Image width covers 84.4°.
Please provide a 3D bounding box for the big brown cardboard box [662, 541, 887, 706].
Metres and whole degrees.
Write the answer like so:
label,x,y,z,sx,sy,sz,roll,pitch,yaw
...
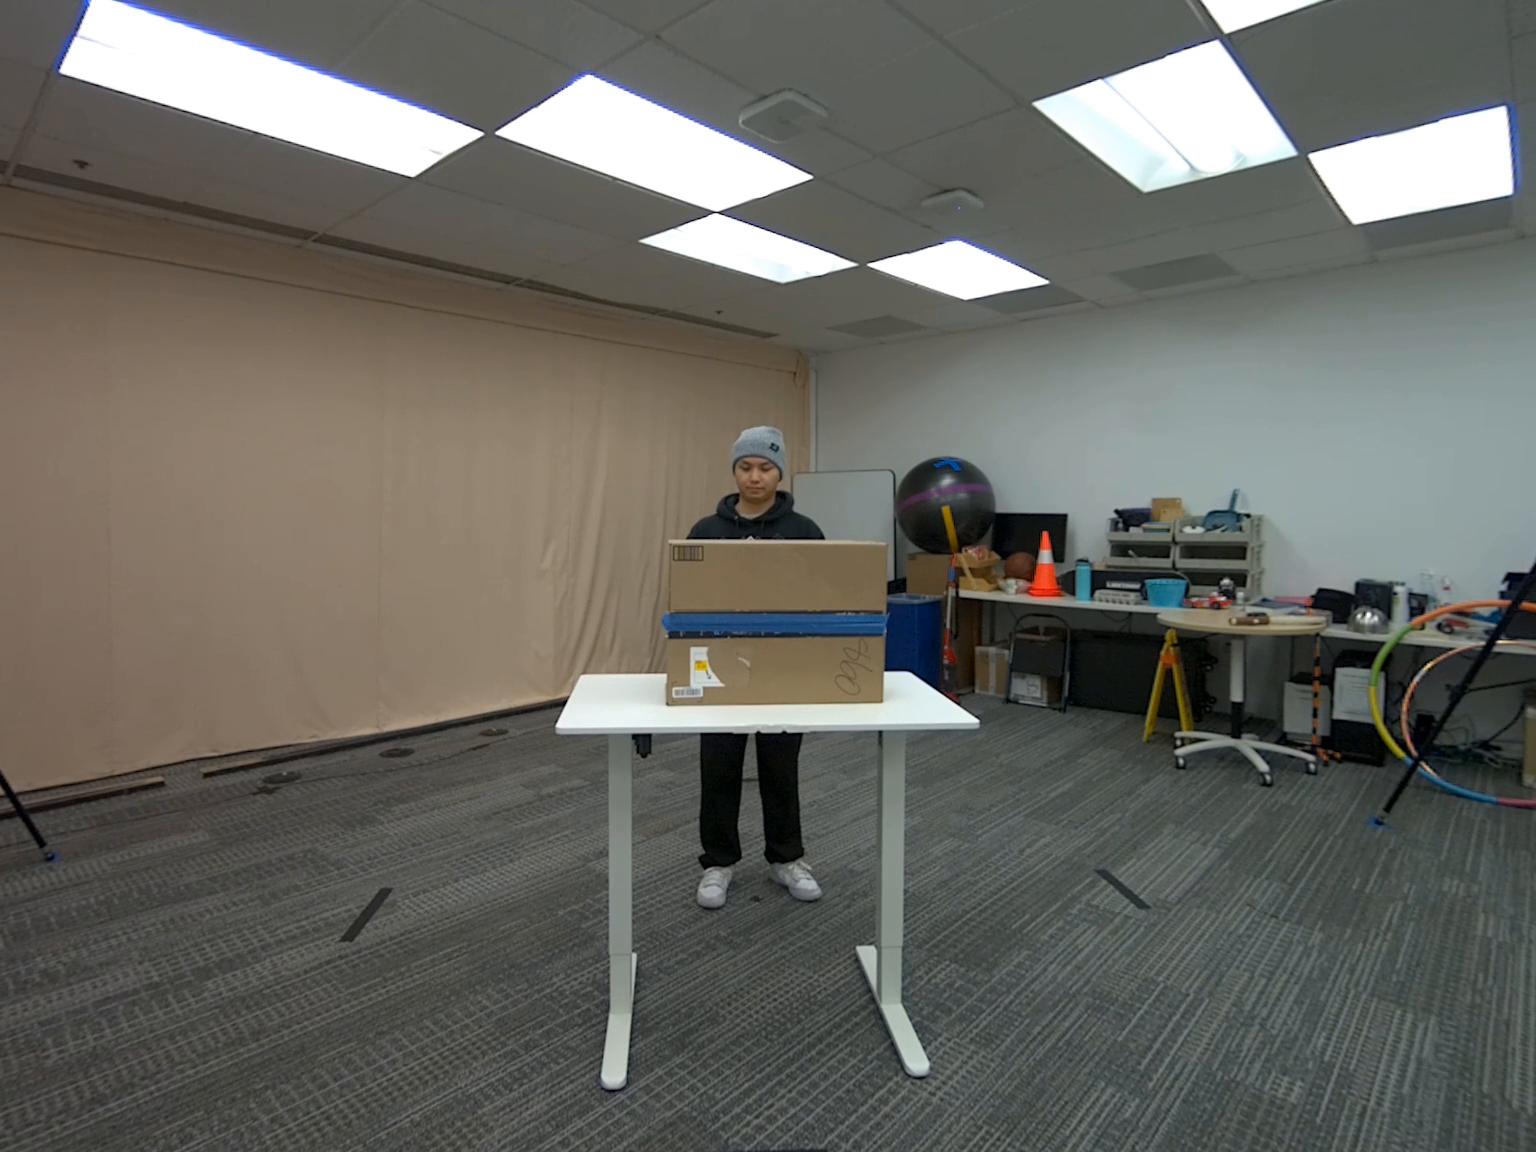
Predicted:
label,x,y,z,sx,sy,sz,roll,pitch,yaw
big brown cardboard box,0.010,0.114,2.264,0.586,0.416,0.235,0,4,-4
